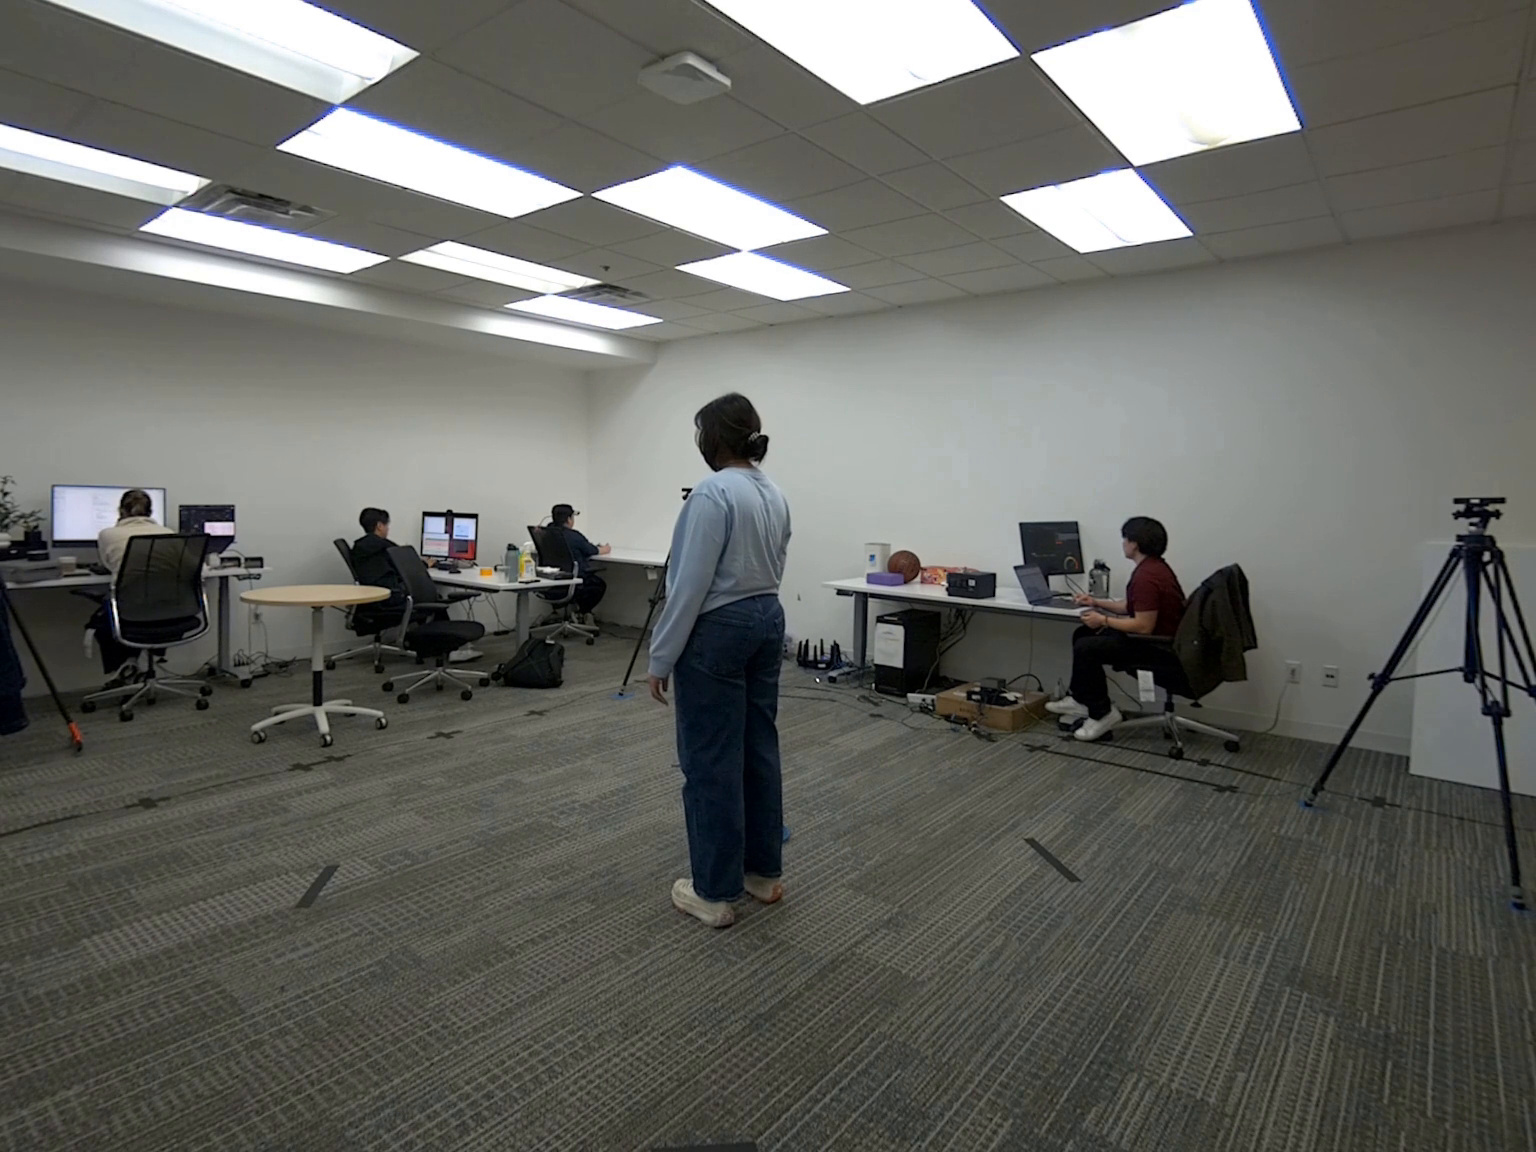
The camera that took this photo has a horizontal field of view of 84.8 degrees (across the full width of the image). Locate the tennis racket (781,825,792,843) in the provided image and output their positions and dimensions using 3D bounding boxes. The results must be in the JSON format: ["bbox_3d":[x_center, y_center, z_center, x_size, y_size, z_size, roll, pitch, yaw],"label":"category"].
[{"bbox_3d":[-0.015,1.031,3.361,0.212,0.031,0.438,0,4,-9],"label":"tennis racket"}]
